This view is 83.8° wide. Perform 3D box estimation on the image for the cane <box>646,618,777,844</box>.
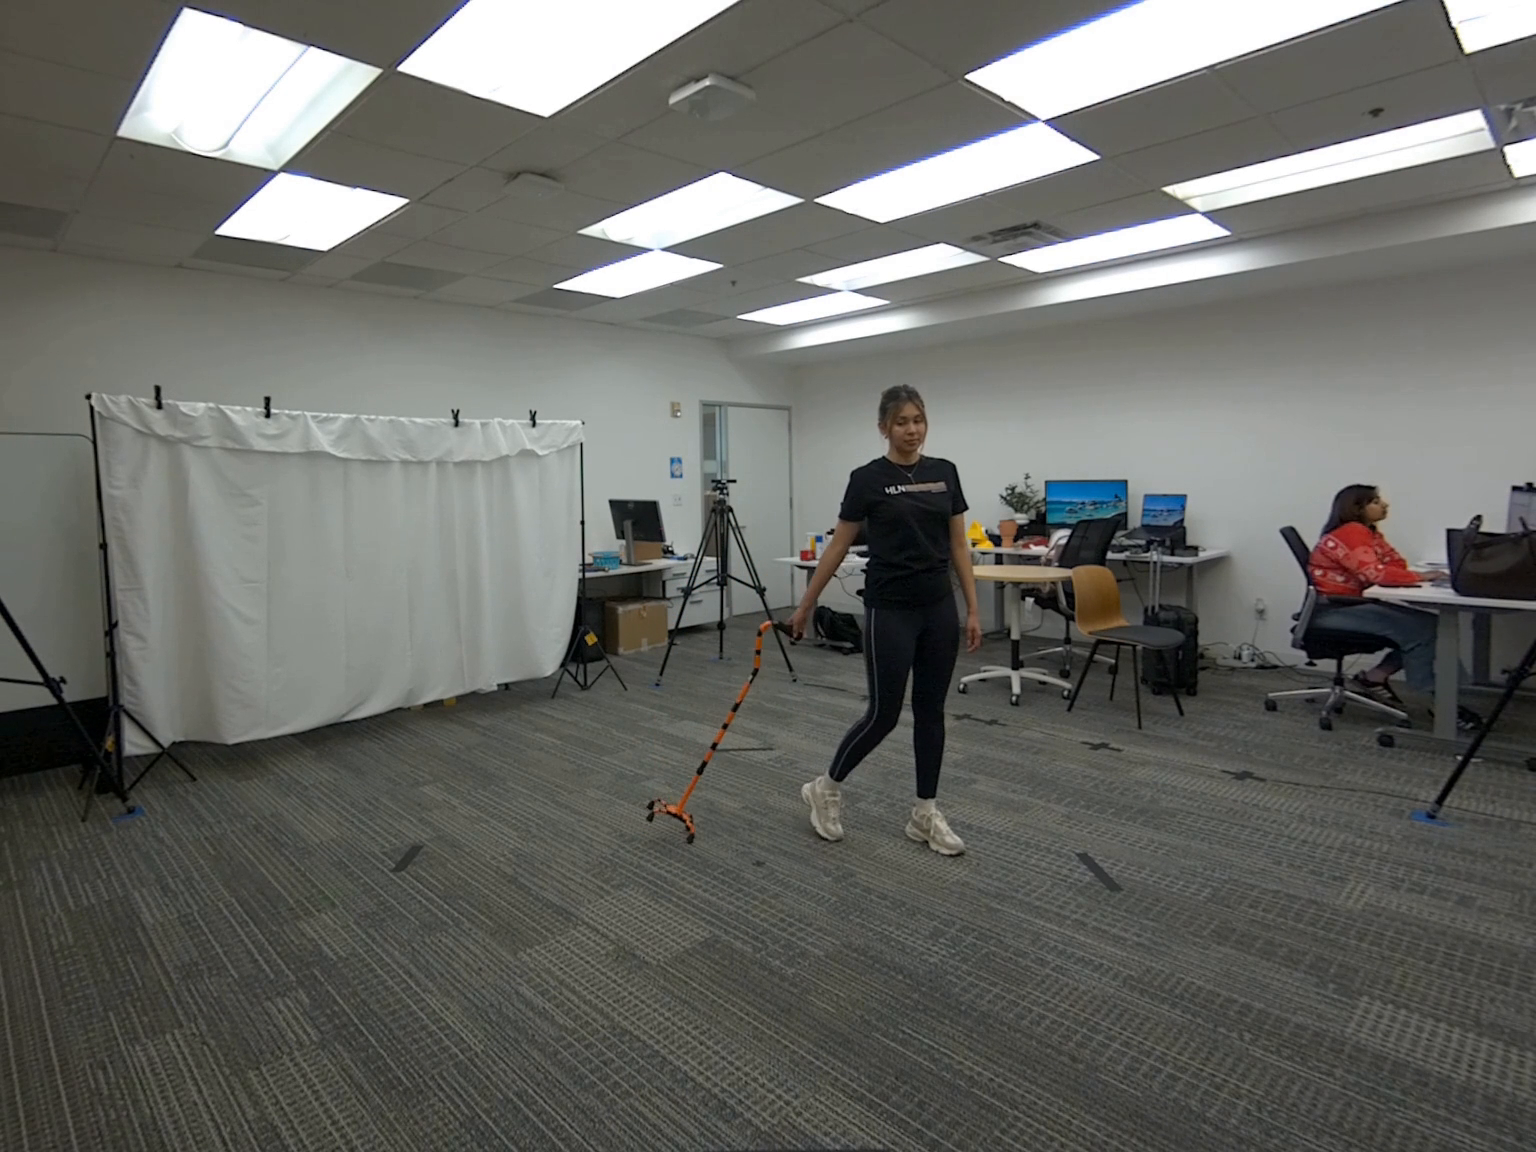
[{"bbox_3d":[-0.169,0.583,3.341,0.205,0.907,0.153,28,1,-7],"label":"cane"}]
